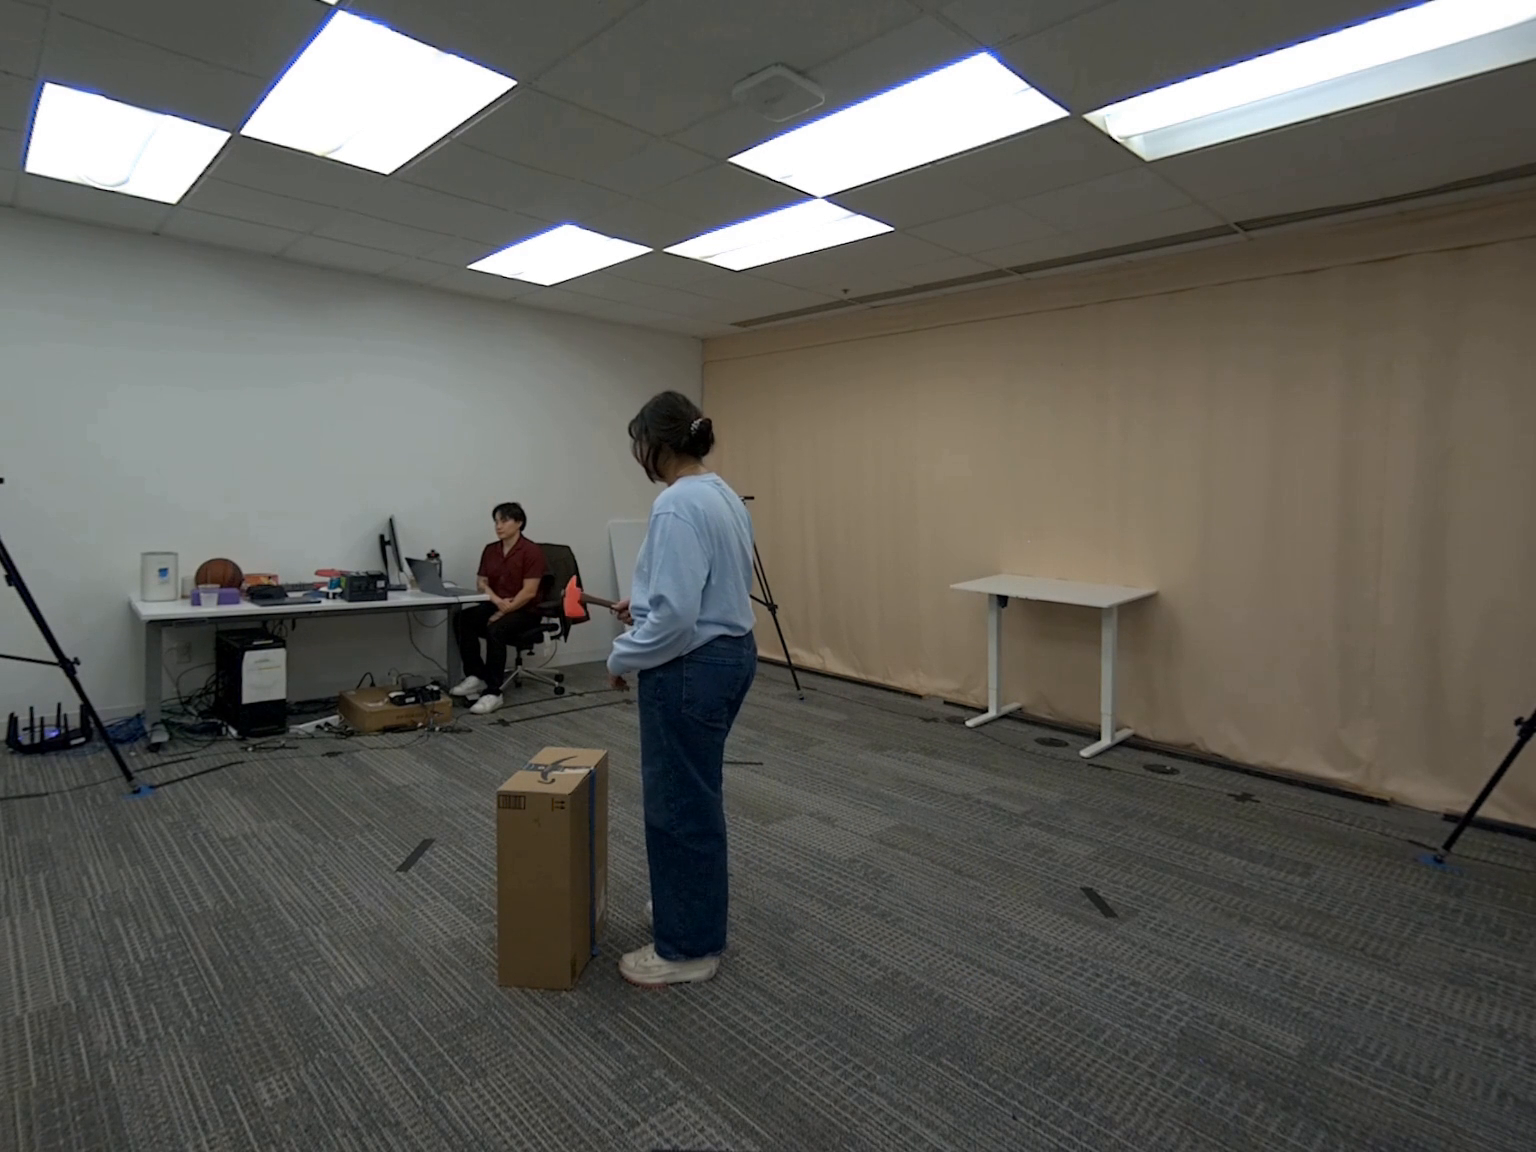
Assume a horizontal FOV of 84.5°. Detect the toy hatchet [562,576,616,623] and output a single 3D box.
[{"bbox_3d":[-0.496,0.106,2.520,0.269,0.132,0.029,30,-34,-3],"label":"toy hatchet"}]
